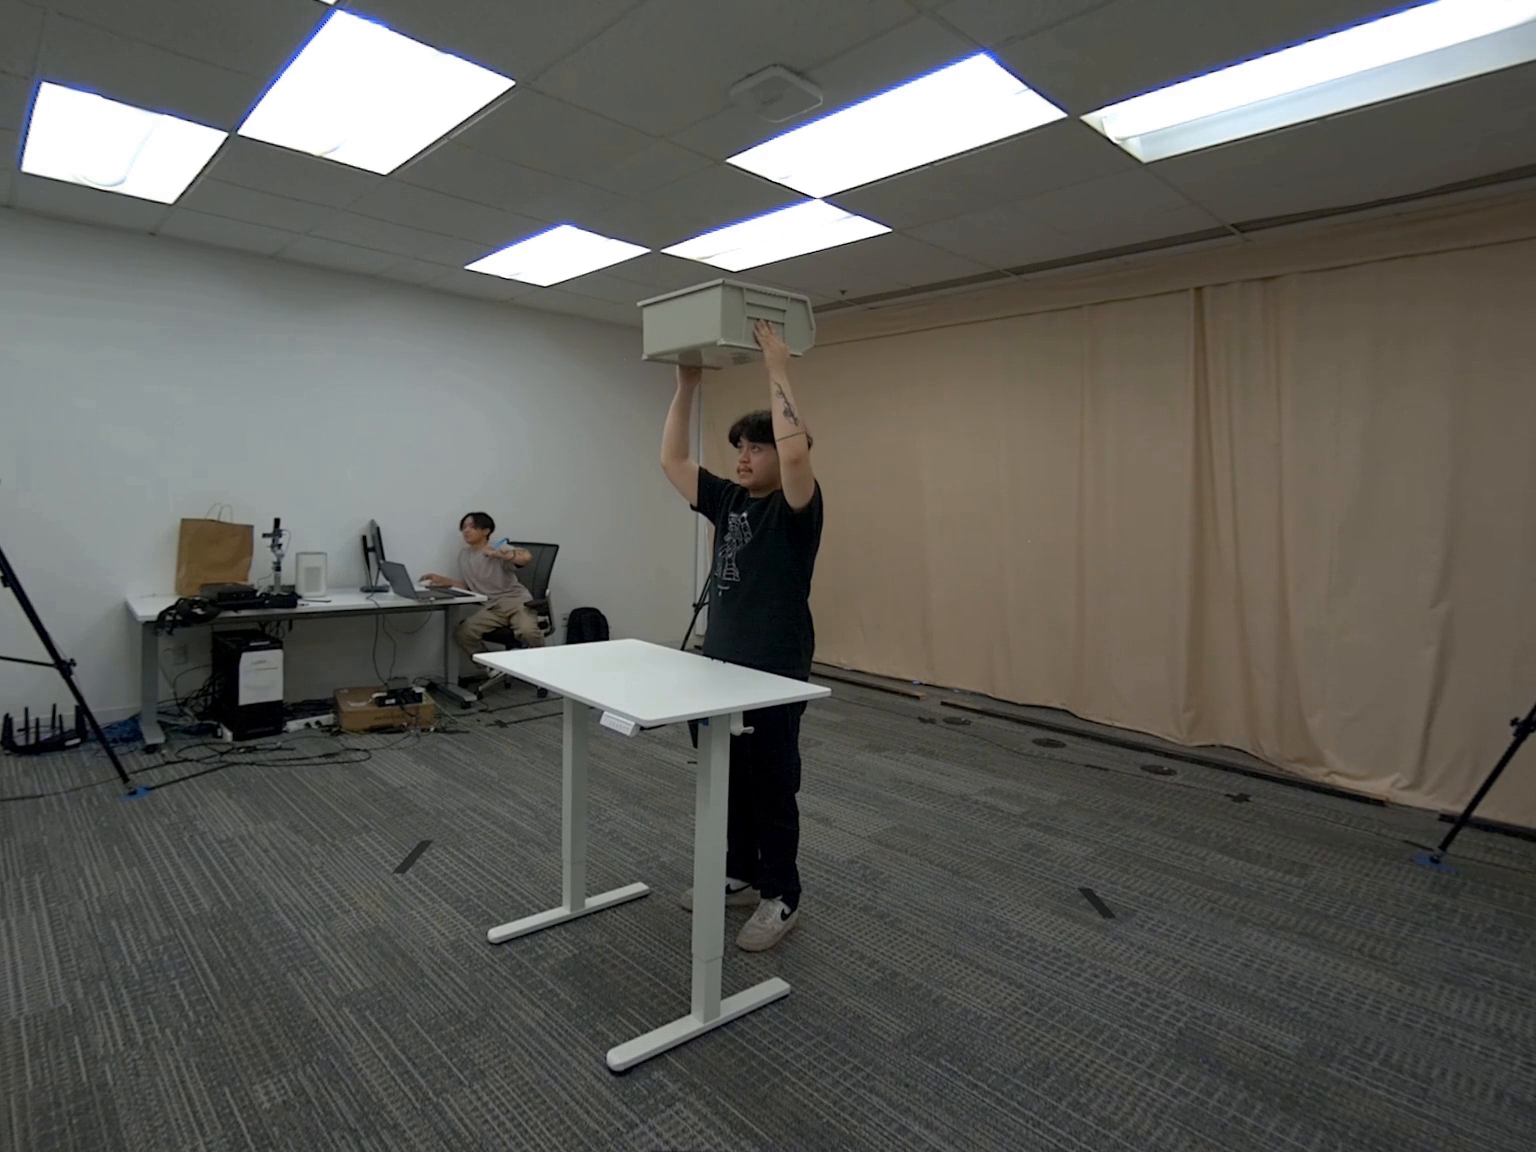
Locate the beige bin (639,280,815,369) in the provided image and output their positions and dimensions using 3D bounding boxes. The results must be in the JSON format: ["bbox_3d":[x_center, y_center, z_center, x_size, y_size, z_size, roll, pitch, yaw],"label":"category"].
[{"bbox_3d":[-0.139,-0.760,2.612,0.369,0.188,0.433,-5,8,-42],"label":"beige bin"}]
